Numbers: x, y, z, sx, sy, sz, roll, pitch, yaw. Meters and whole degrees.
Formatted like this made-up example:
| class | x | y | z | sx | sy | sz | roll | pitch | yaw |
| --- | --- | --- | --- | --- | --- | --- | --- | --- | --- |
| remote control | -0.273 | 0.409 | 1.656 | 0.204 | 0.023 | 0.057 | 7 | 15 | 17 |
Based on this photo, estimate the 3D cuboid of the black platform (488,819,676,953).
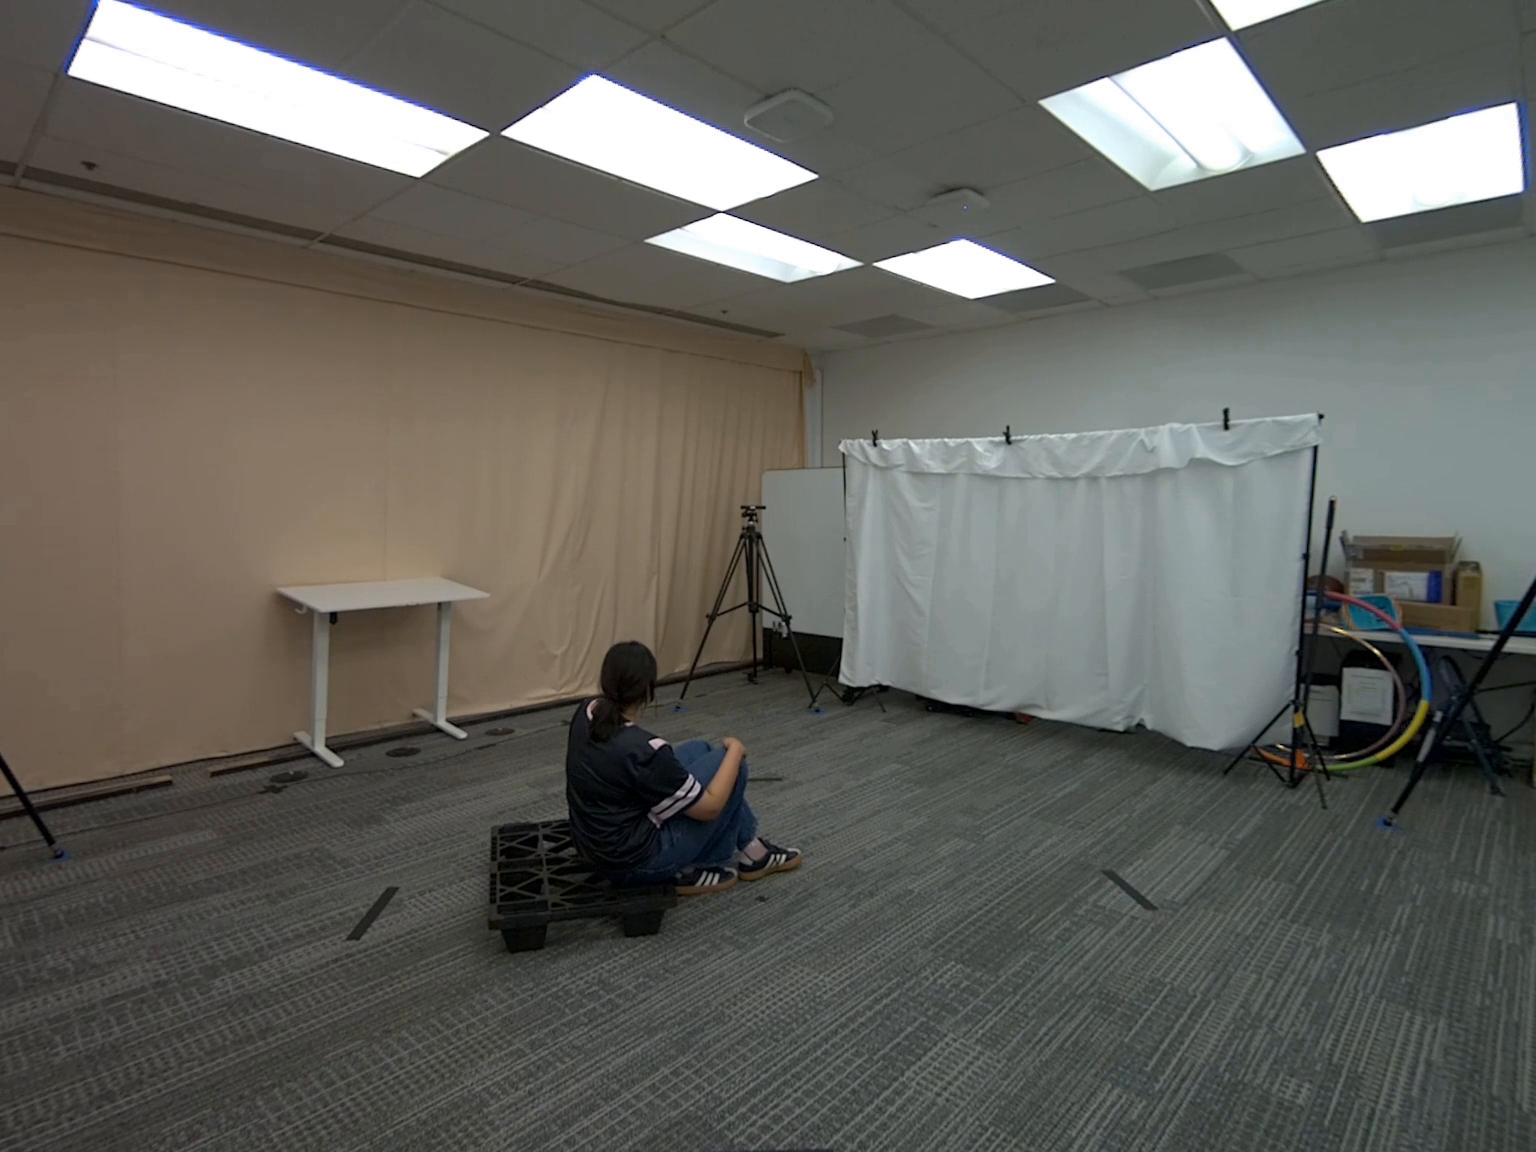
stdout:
| class | x | y | z | sx | sy | sz | roll | pitch | yaw |
| --- | --- | --- | --- | --- | --- | --- | --- | --- | --- |
| black platform | -0.694 | 1.077 | 3.037 | 0.596 | 0.143 | 0.820 | -2 | 5 | -16 |
